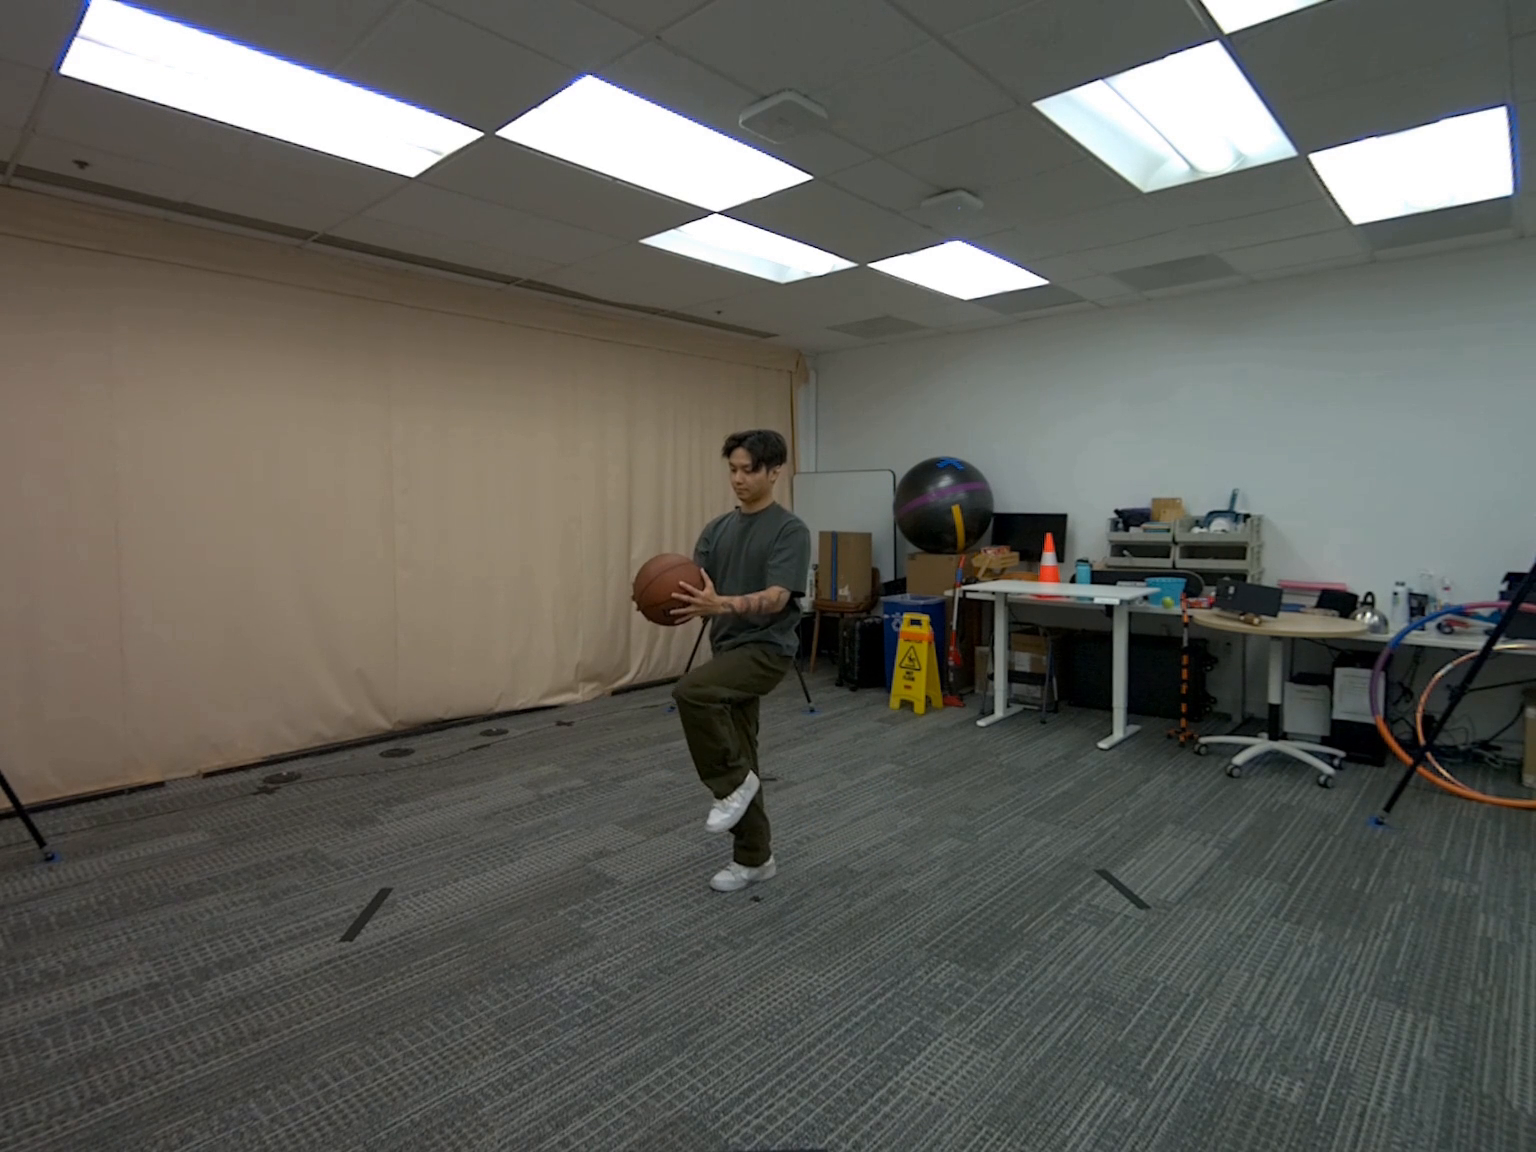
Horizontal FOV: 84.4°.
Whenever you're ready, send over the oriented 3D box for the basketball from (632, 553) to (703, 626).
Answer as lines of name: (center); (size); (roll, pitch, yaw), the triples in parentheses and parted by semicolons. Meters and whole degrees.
basketball: (-0.312, 0.028, 2.757); (0.236, 0.235, 0.237); (0, 4, -2)
